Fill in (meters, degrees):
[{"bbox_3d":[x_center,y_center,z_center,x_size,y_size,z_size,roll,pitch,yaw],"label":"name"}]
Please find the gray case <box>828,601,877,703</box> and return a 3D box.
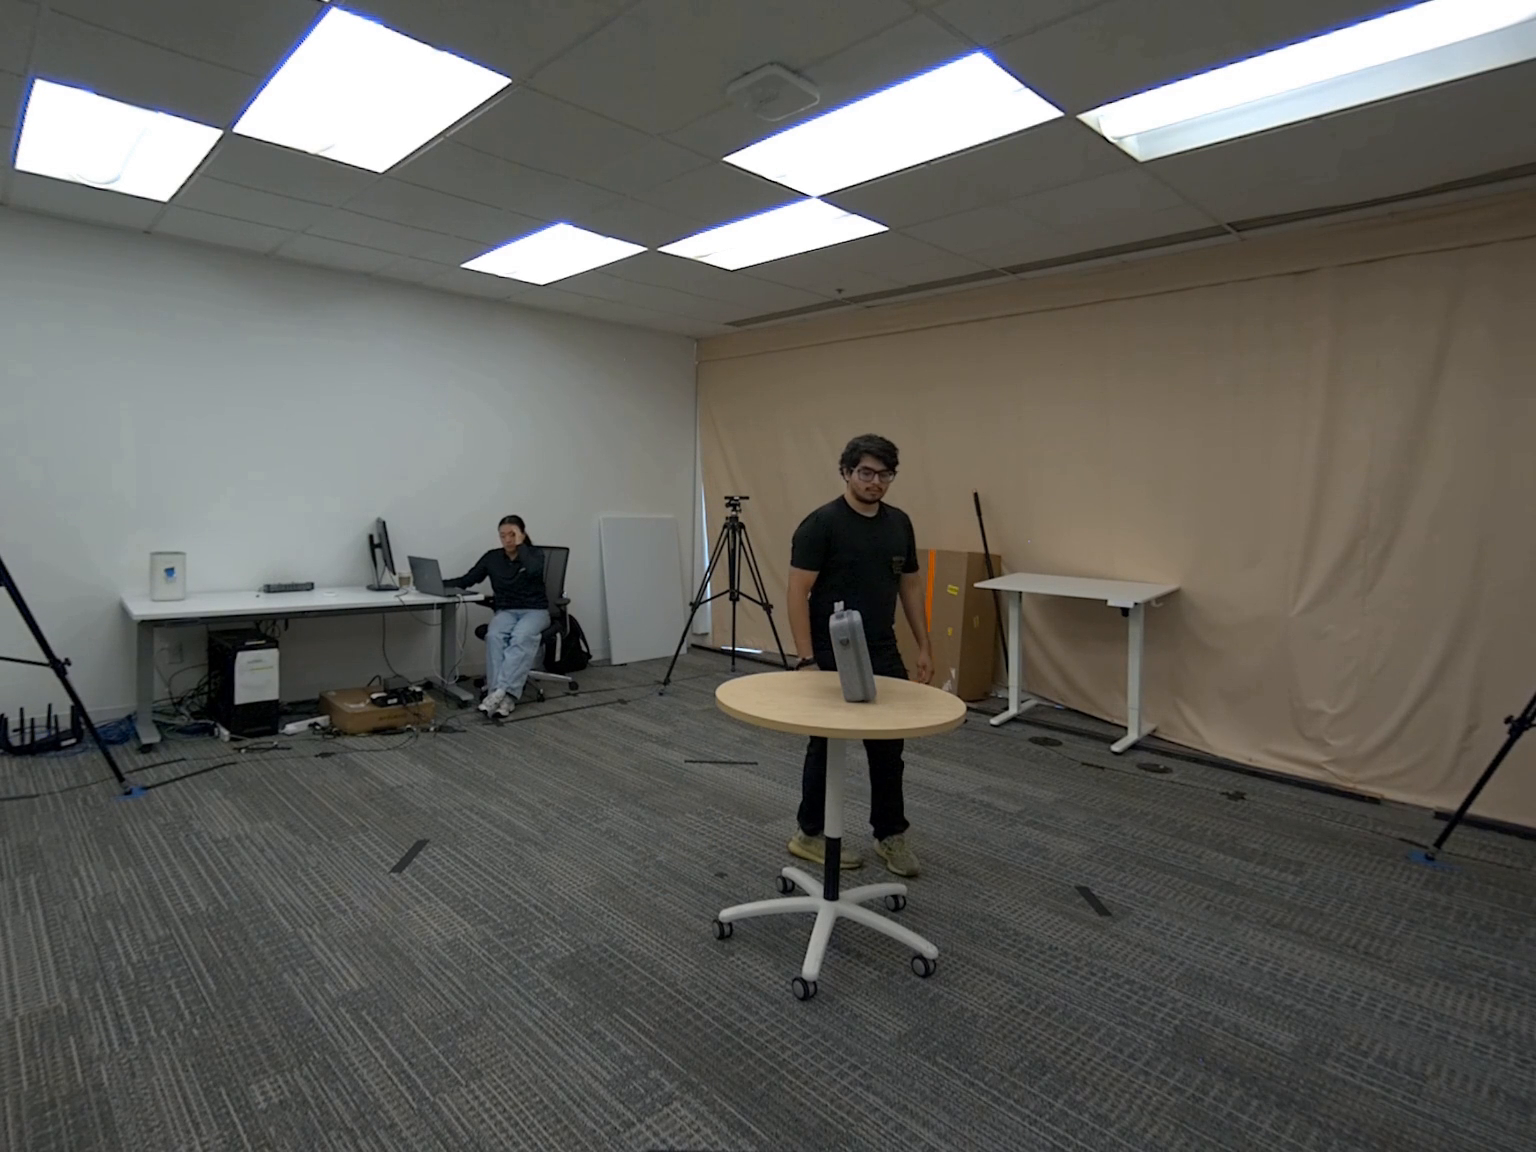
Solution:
[{"bbox_3d":[0.260,0.248,2.634,0.105,0.260,0.256,-8,2,6],"label":"gray case"}]
